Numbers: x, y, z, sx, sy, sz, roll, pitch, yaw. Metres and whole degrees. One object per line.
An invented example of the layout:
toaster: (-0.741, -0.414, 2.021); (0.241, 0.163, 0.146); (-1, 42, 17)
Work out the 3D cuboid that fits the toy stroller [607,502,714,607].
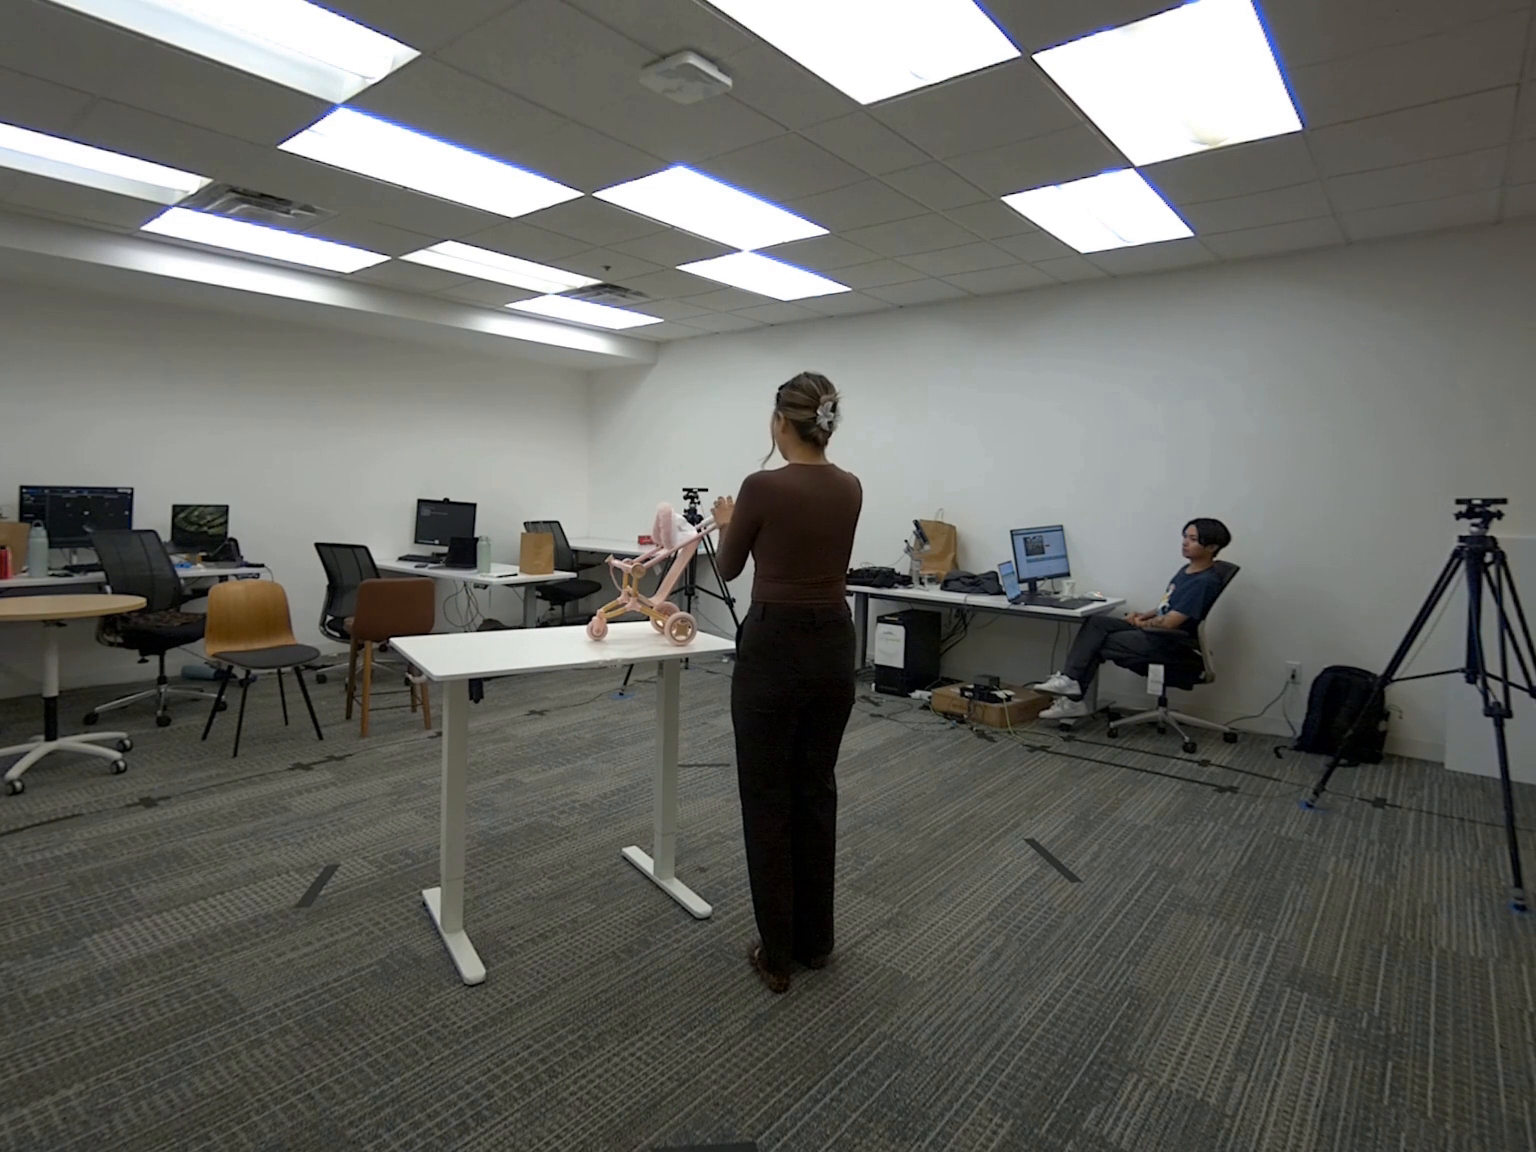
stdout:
toy stroller: (-0.391, -0.007, 2.841); (0.336, 0.535, 0.286); (17, -1, -13)
